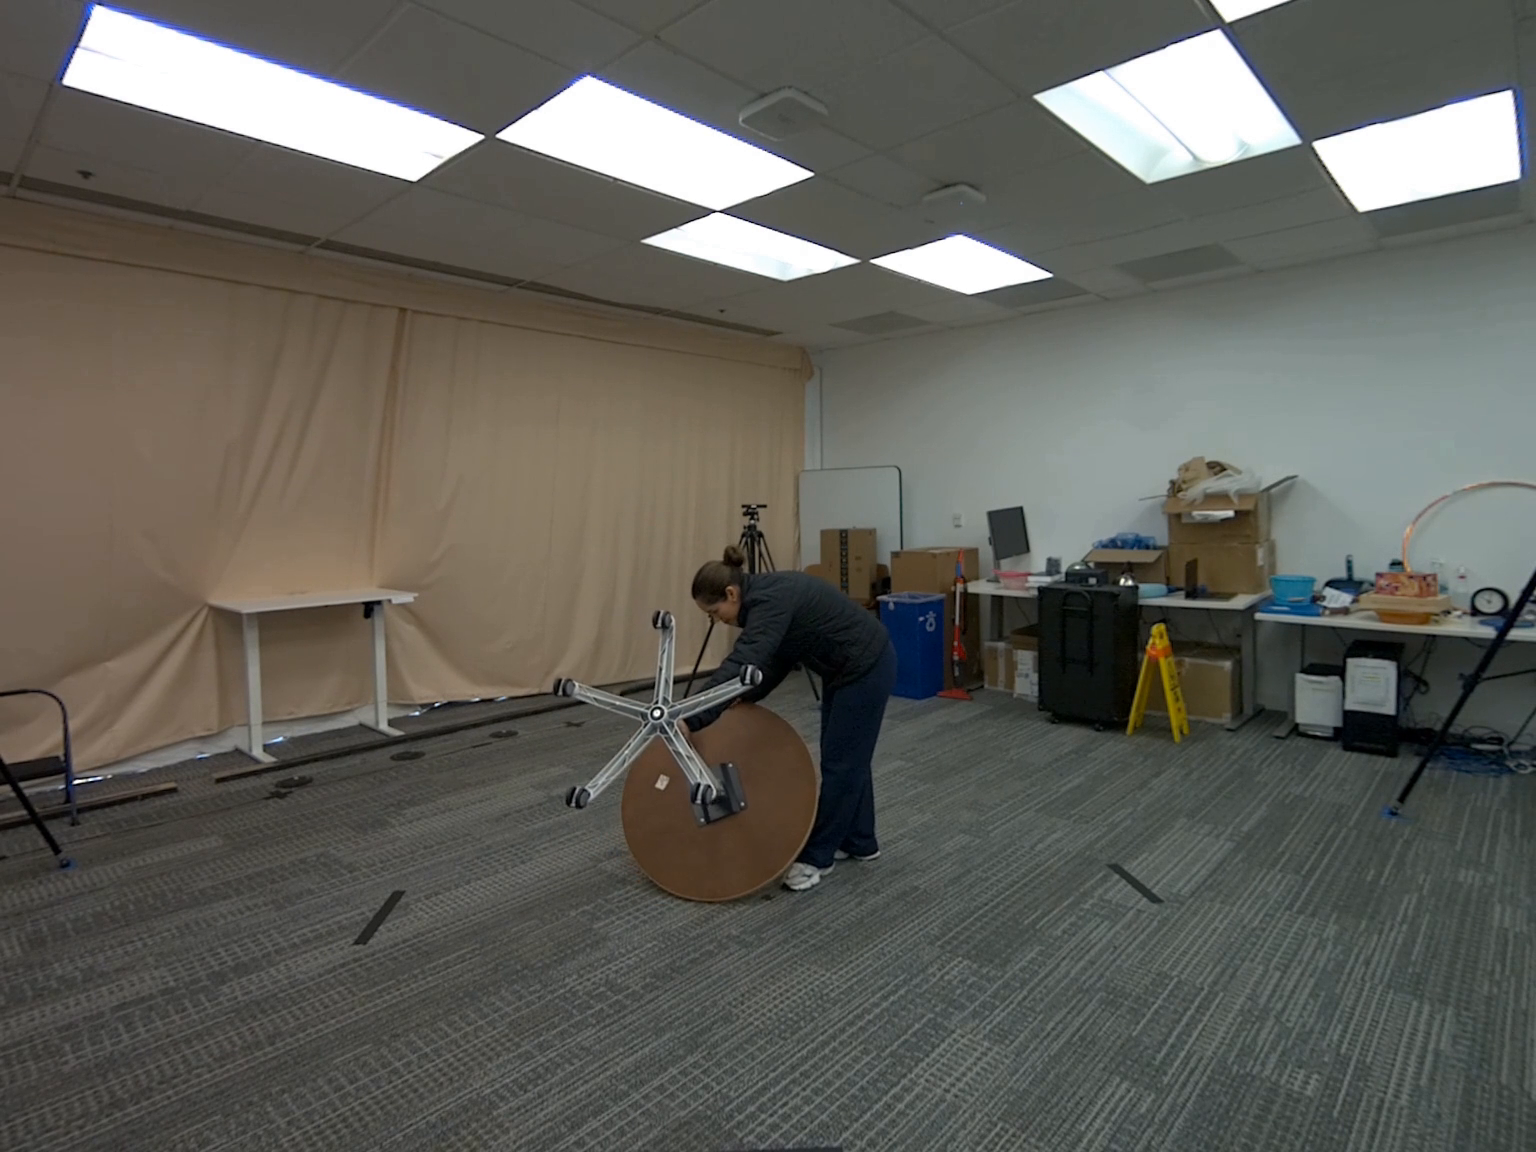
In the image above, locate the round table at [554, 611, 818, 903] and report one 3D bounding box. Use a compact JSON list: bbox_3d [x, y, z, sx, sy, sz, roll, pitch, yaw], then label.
[{"bbox_3d":[-0.260,0.601,2.894,0.800,0.793,0.764,0,-35,17],"label":"round table"}]
